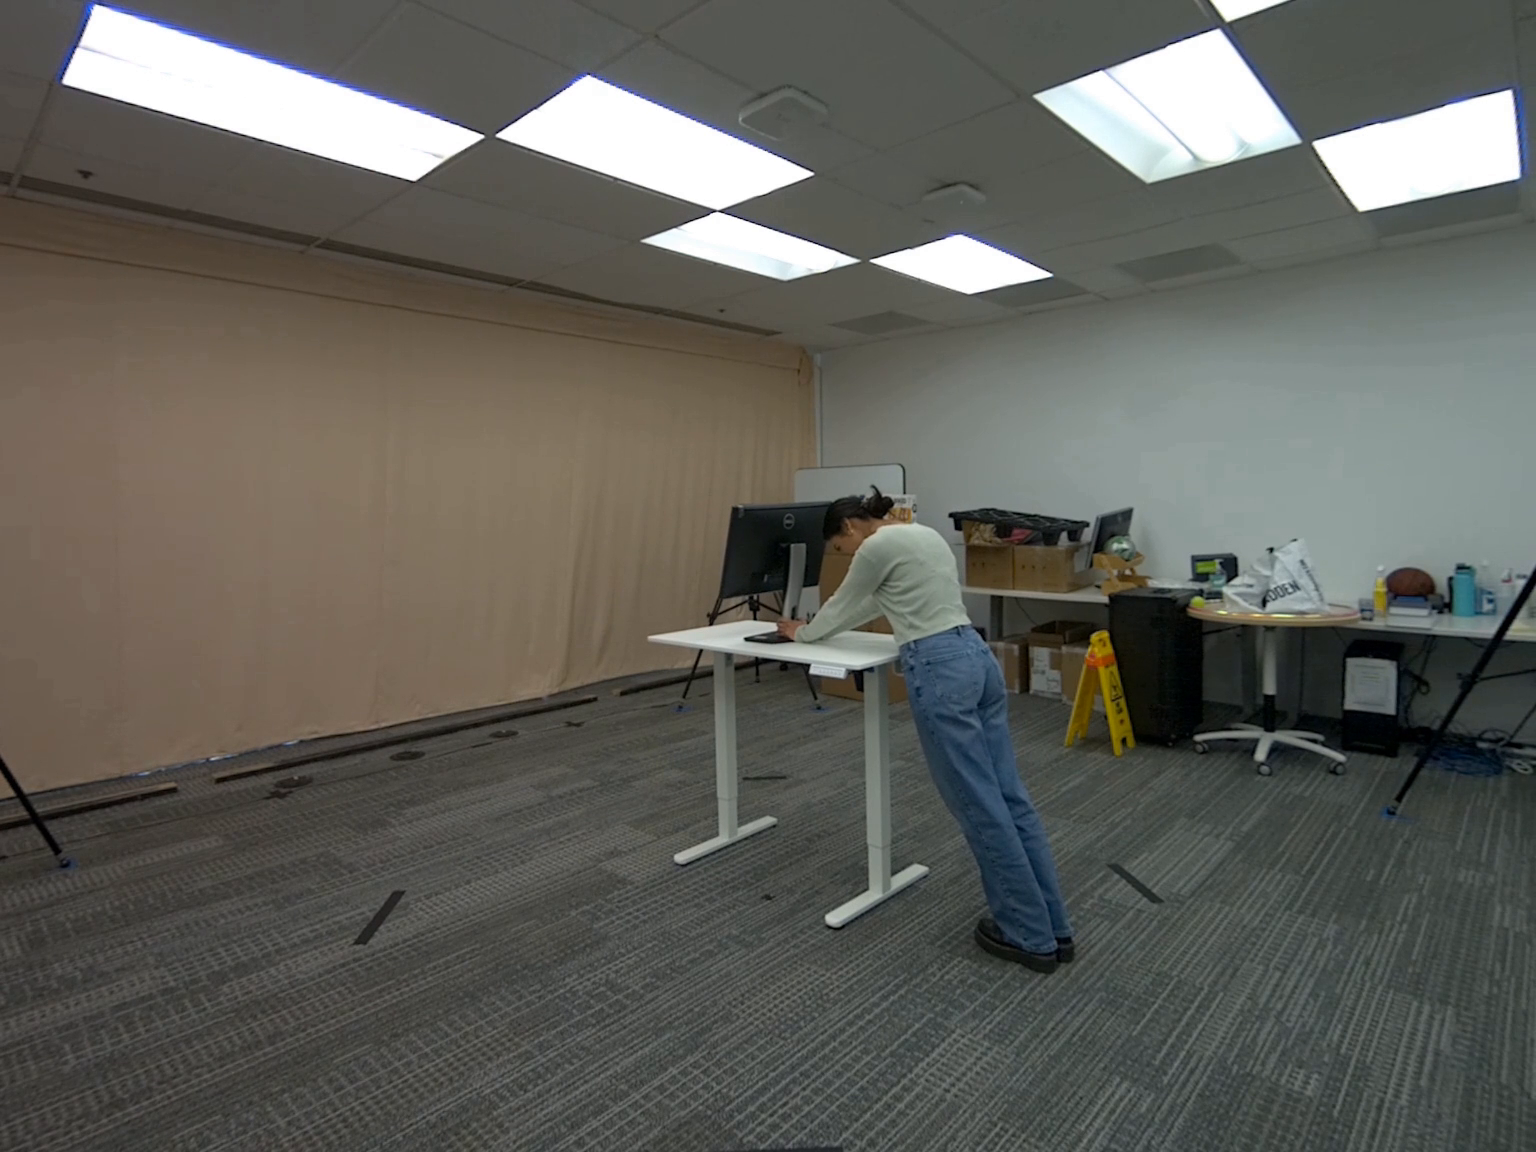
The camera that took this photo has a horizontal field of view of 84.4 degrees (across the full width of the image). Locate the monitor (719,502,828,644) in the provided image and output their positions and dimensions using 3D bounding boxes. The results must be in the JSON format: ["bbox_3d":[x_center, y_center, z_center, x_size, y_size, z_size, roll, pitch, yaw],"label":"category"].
[{"bbox_3d":[0.061,-0.015,3.193,0.193,0.521,0.523,5,8,44],"label":"monitor"}]
